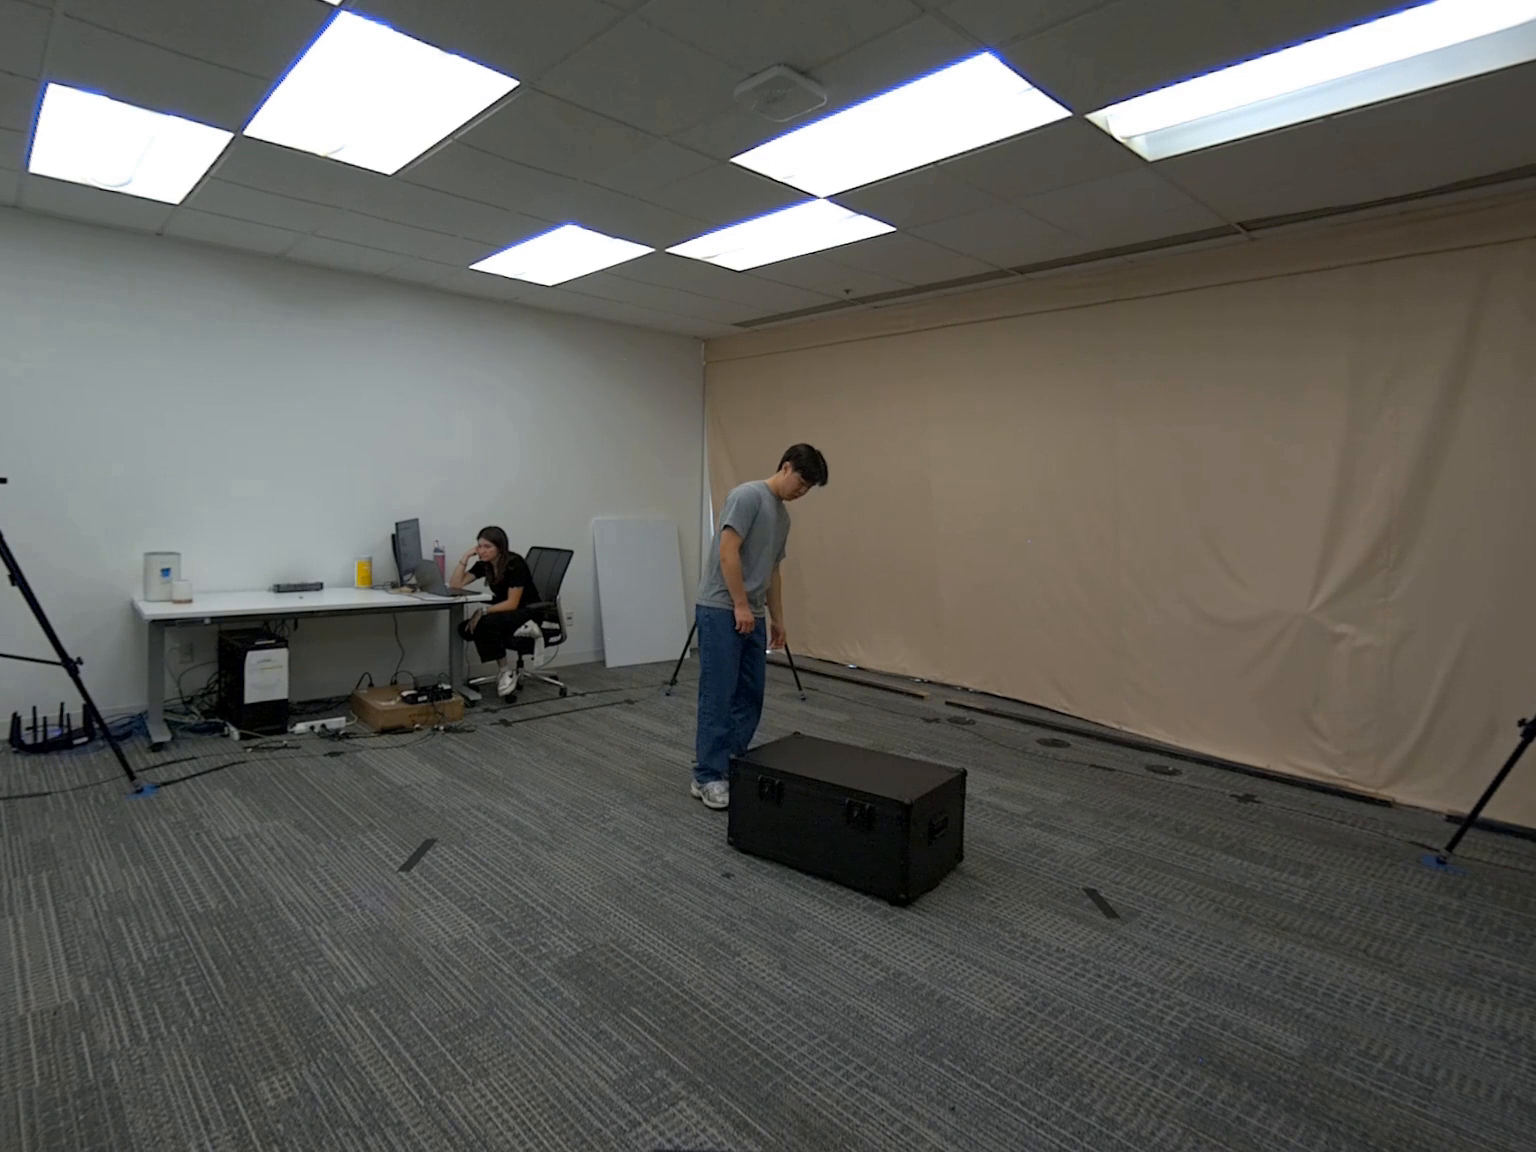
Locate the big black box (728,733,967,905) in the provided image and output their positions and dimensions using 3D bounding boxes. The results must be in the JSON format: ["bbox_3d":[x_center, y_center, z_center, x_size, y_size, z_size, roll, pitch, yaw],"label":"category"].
[{"bbox_3d":[0.264,0.909,3.291,0.882,0.395,0.510,5,5,37],"label":"big black box"}]
